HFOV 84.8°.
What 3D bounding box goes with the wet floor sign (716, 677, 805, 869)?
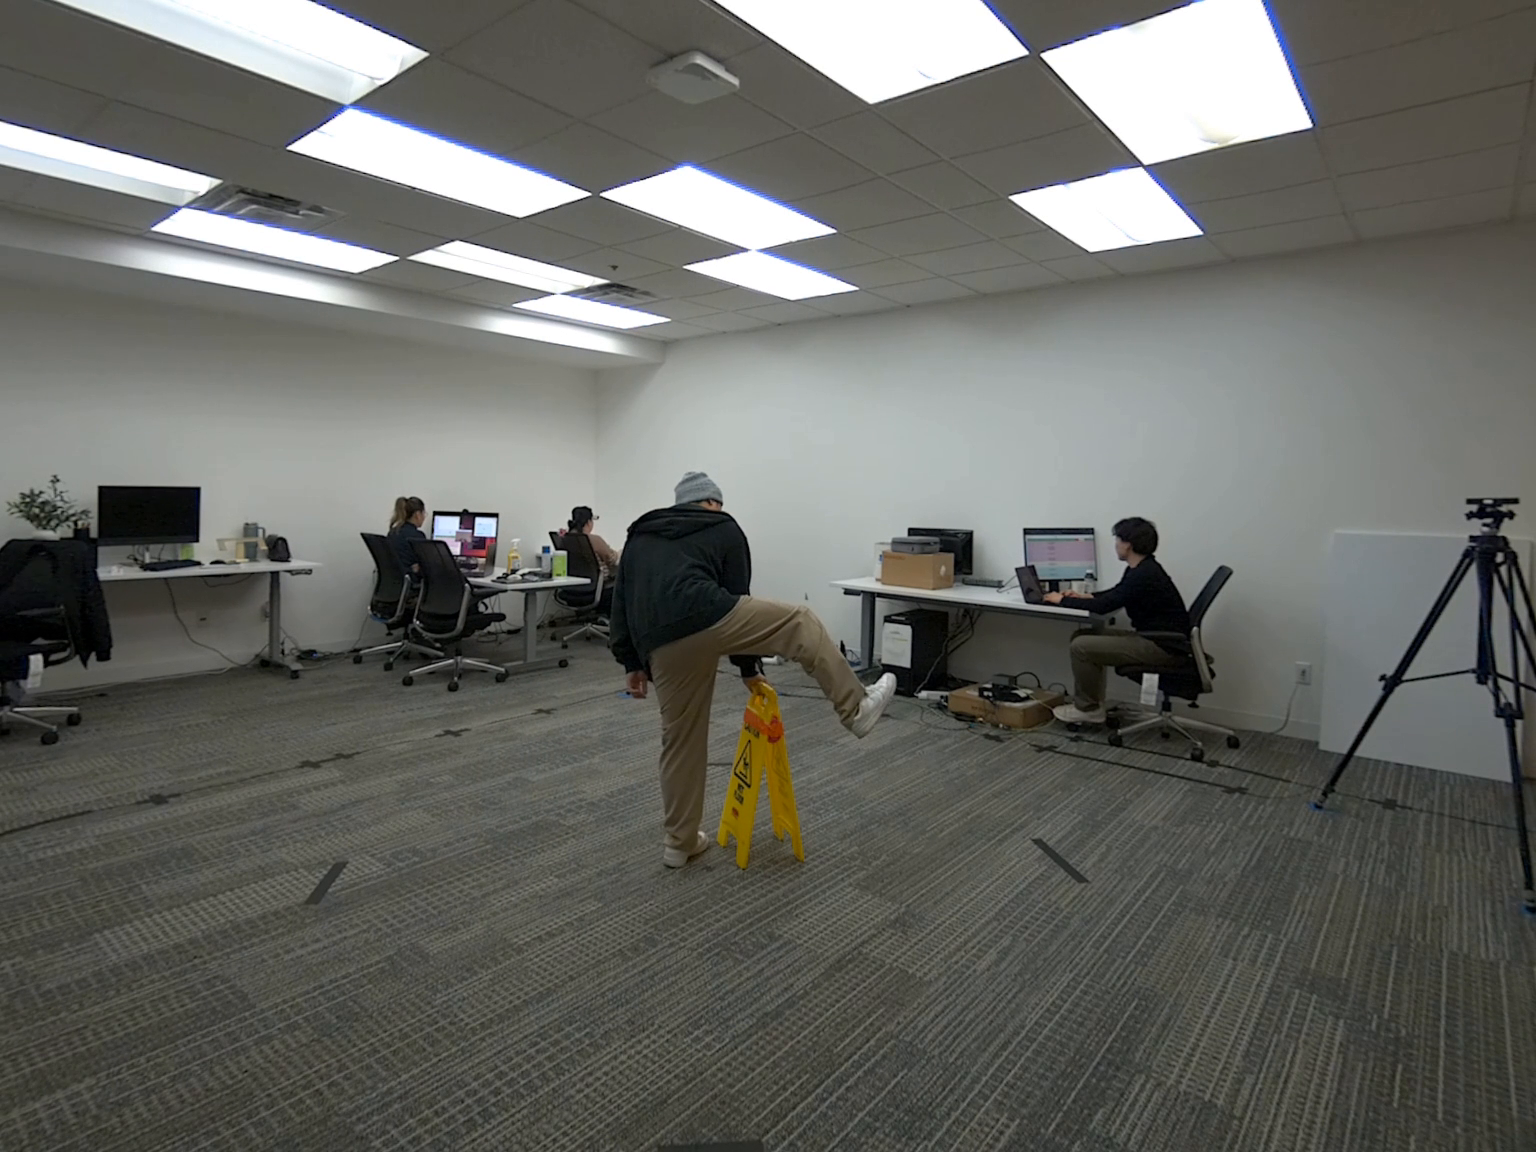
[{"bbox_3d":[-0.032,0.729,3.258,0.284,0.644,0.289,1,4,-20],"label":"wet floor sign"}]
